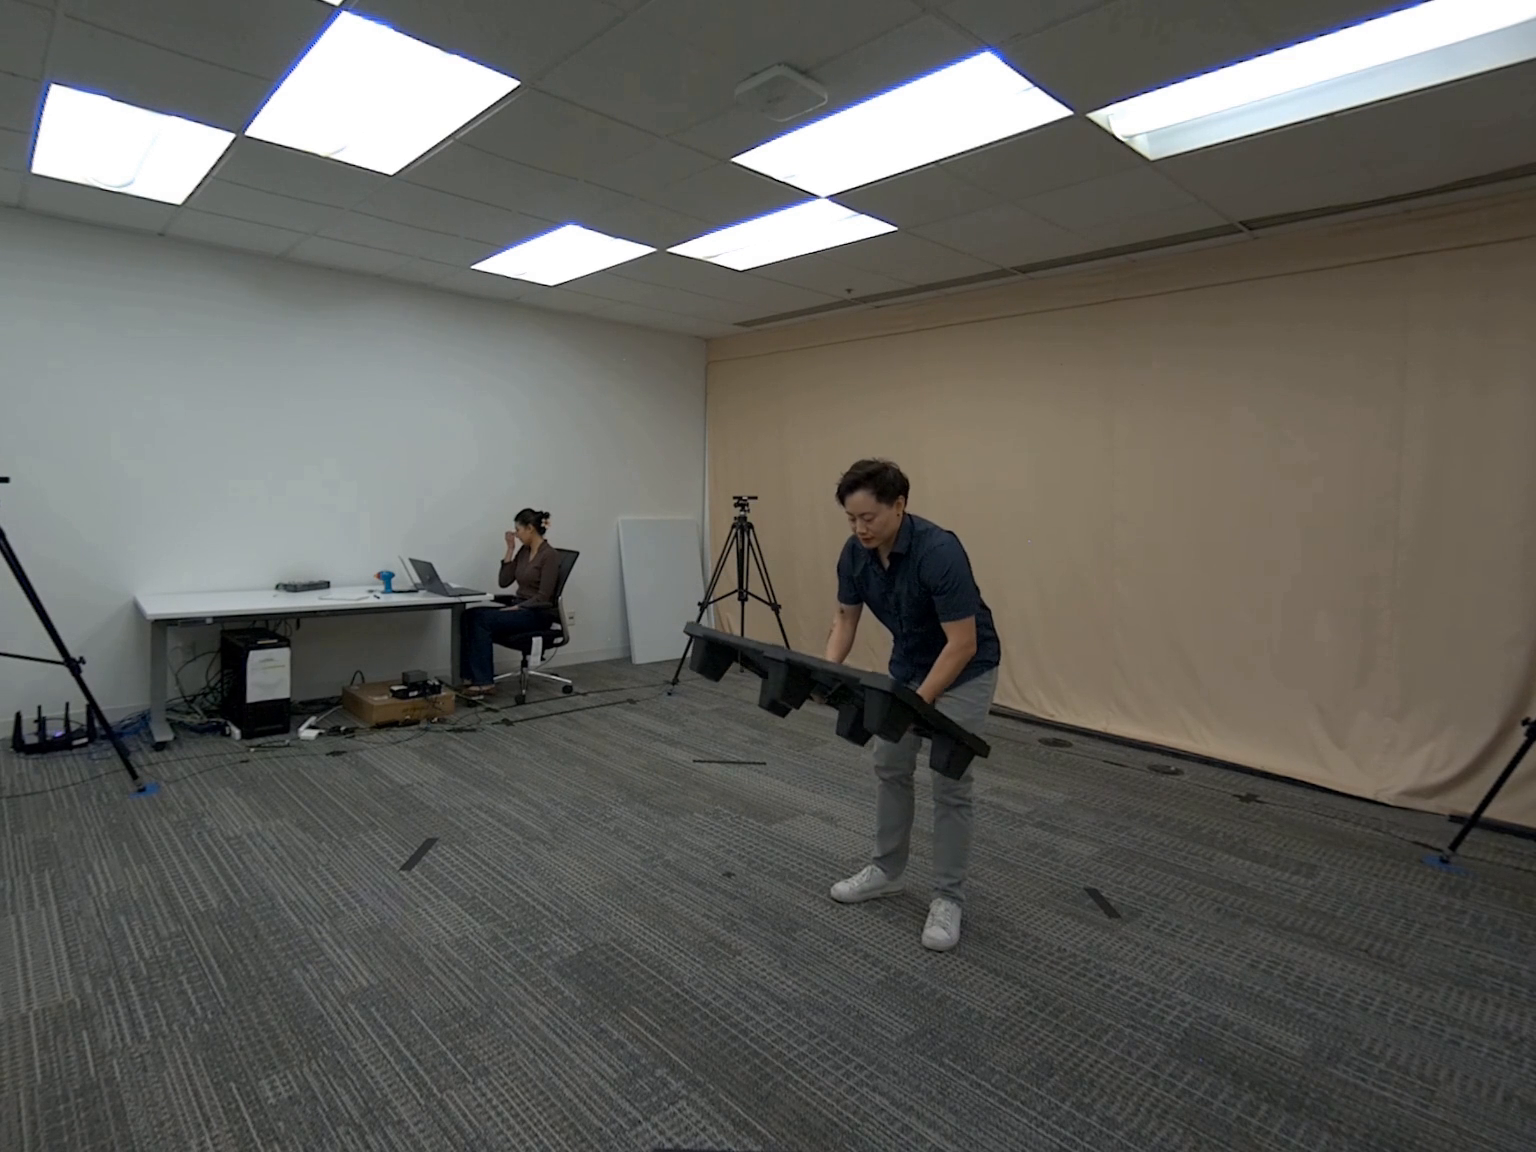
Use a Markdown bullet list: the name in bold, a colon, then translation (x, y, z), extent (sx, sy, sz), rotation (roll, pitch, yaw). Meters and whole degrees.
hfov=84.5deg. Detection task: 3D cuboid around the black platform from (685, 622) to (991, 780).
- **black platform**: translation (0.167, 0.380, 2.530), extent (0.827, 0.144, 0.586), rotation (11, -18, 44)
